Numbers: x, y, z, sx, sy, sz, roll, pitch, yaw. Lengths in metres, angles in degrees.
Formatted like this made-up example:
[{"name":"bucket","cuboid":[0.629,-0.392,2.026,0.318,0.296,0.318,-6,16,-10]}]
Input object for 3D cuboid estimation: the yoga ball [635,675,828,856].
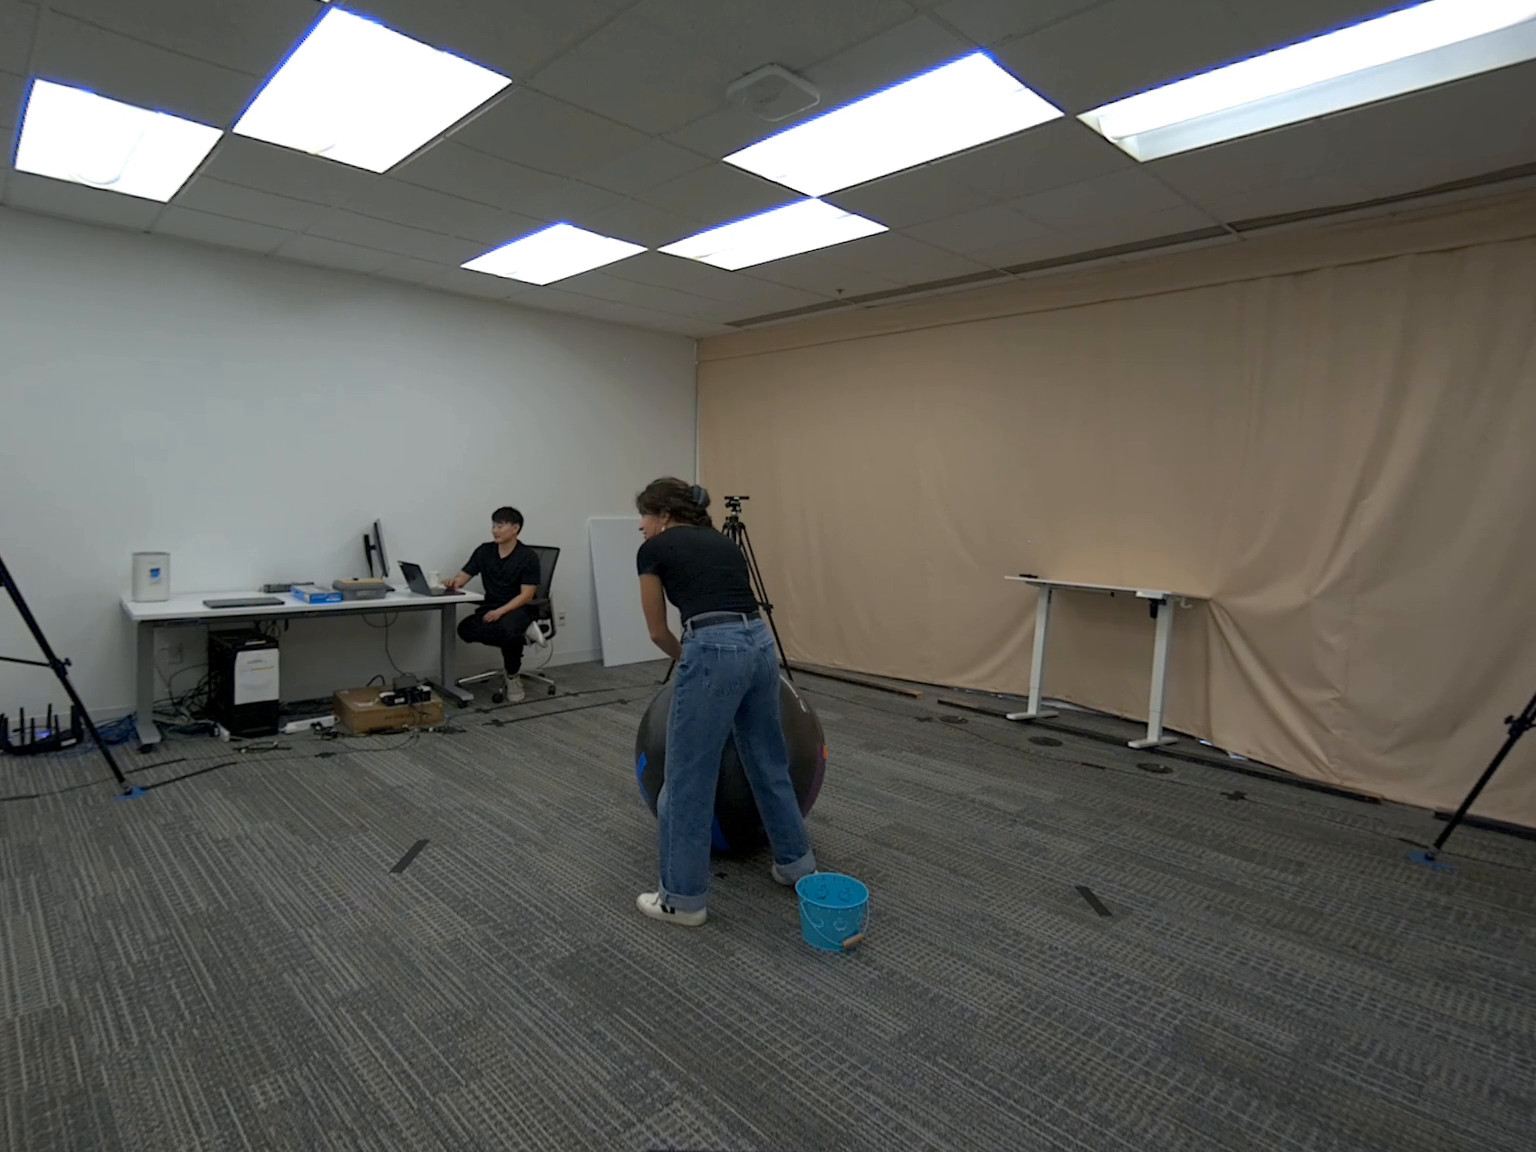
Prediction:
[{"name":"yoga ball","cuboid":[-0.157,0.714,3.367,0.757,0.756,0.761,1,4,-1]}]
